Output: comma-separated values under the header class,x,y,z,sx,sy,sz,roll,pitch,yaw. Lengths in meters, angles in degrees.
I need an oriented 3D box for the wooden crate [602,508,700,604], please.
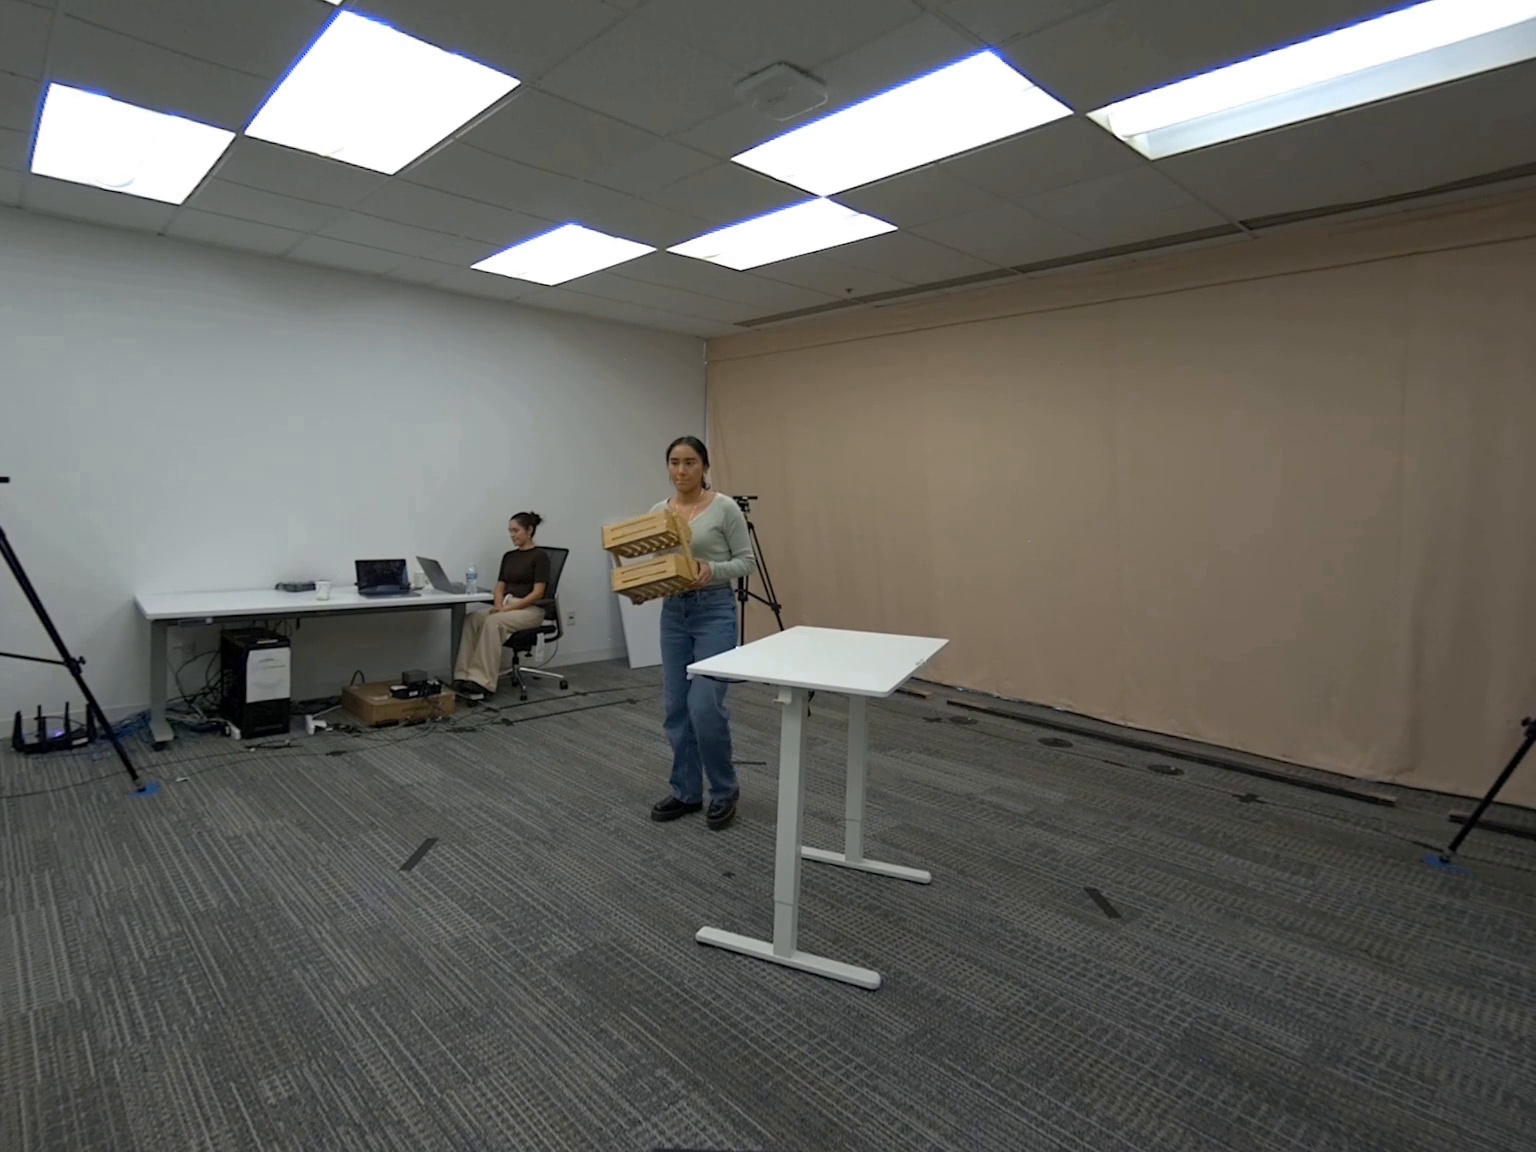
class,x,y,z,sx,sy,sz,roll,pitch,yaw
wooden crate,-0.470,-0.079,3.405,0.328,0.277,0.294,-14,-18,21
